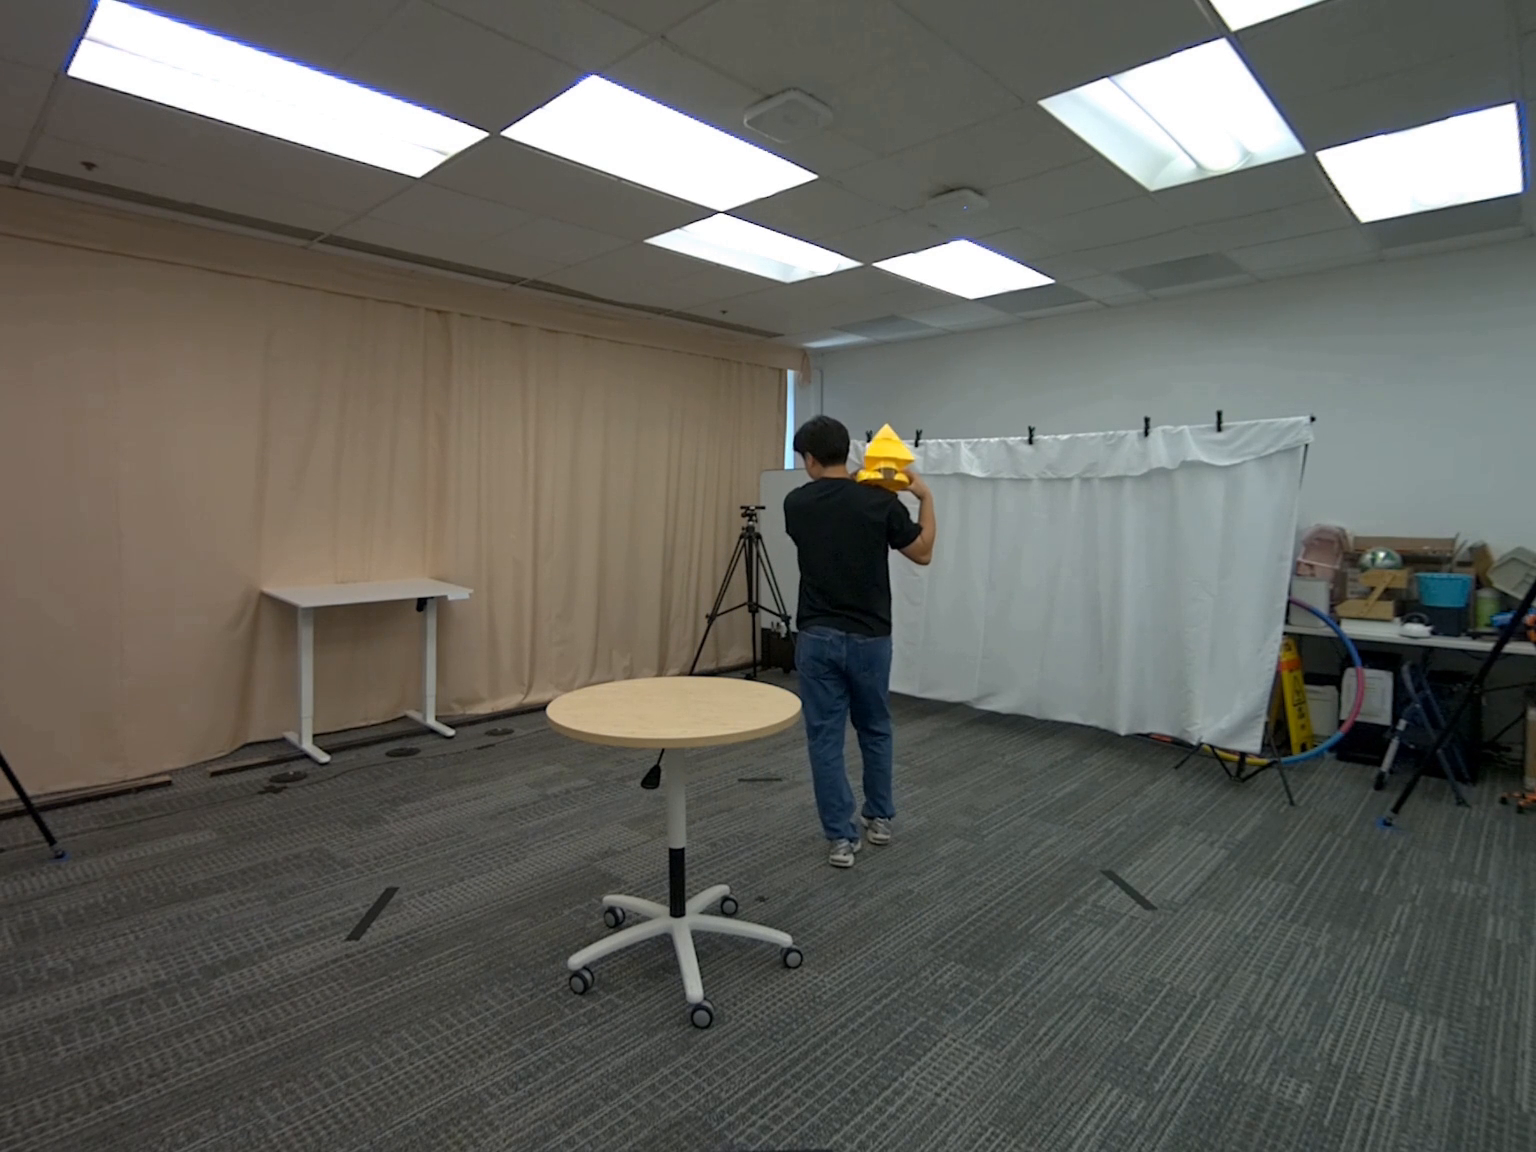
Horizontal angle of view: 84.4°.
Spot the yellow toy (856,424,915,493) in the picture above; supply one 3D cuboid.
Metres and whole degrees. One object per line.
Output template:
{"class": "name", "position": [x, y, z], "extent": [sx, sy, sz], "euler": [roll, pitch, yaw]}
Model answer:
{"class": "yellow toy", "position": [0.449, -0.469, 3.313], "extent": [0.203, 0.233, 0.193], "euler": [3, -14, -9]}
